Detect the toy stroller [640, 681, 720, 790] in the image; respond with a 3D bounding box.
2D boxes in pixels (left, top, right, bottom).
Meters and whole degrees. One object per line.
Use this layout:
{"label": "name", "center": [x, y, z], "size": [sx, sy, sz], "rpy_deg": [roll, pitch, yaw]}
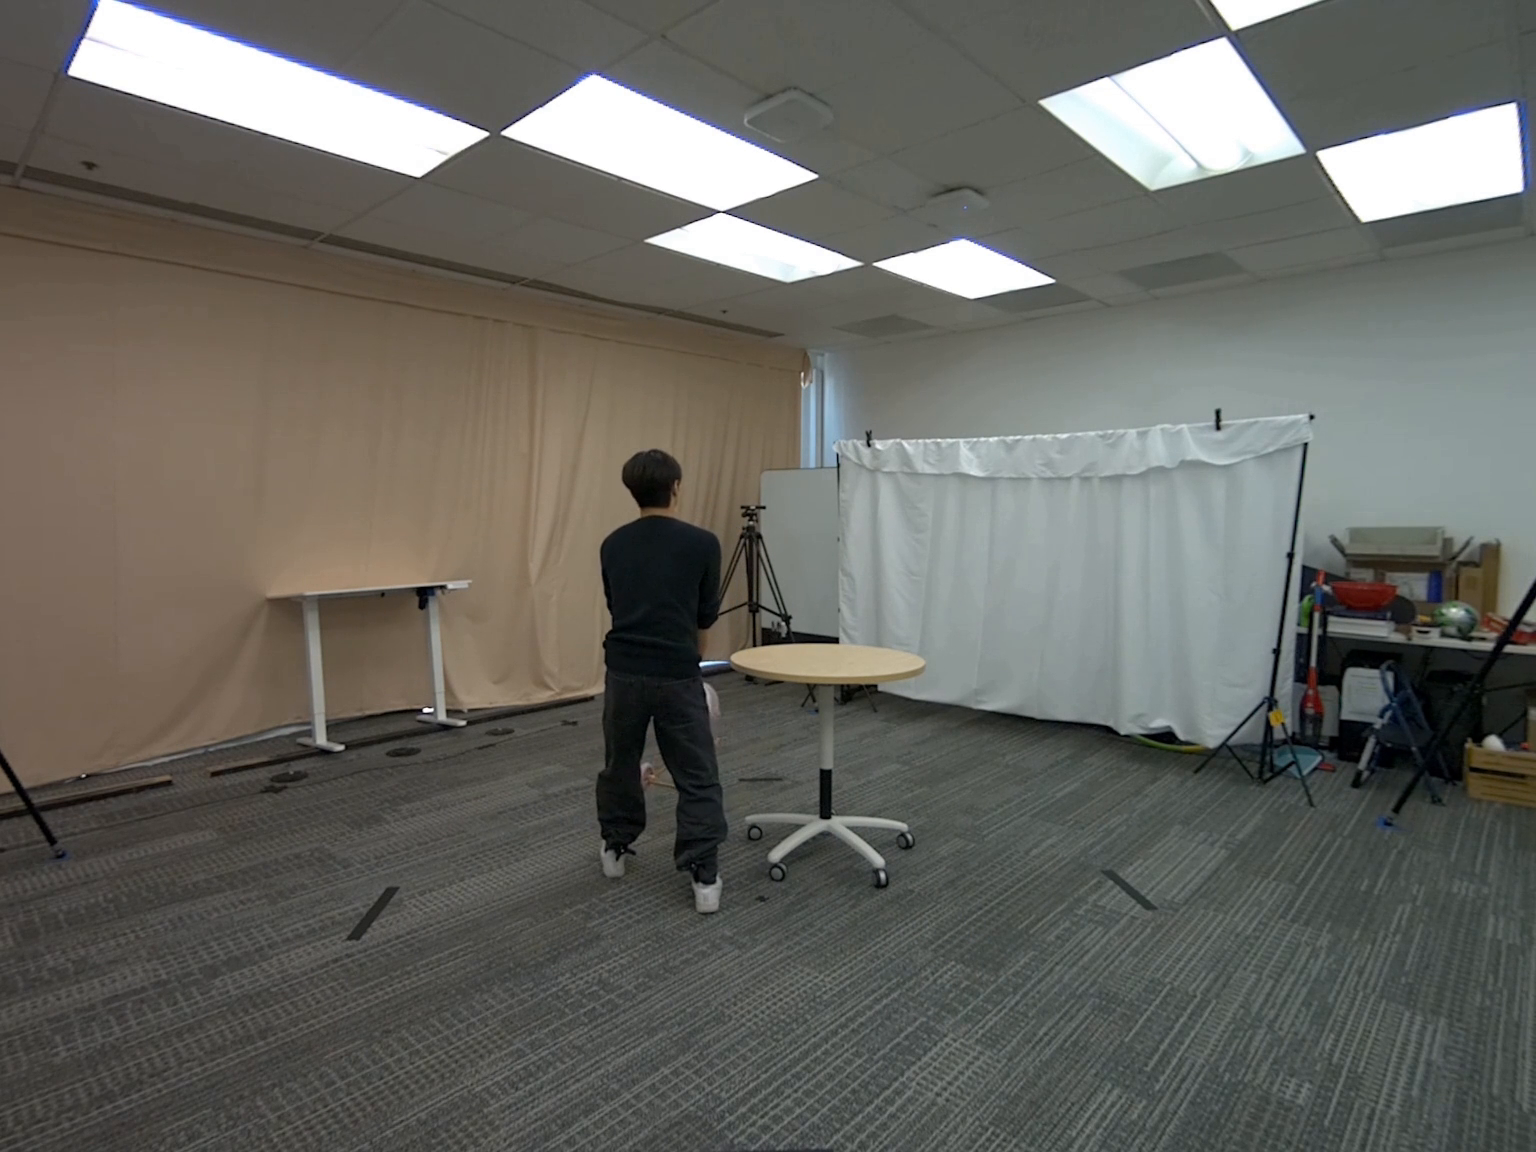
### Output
{"label": "toy stroller", "center": [-0.320, 0.671, 3.432], "size": [0.289, 0.537, 0.331], "rpy_deg": [1, -6, 27]}
